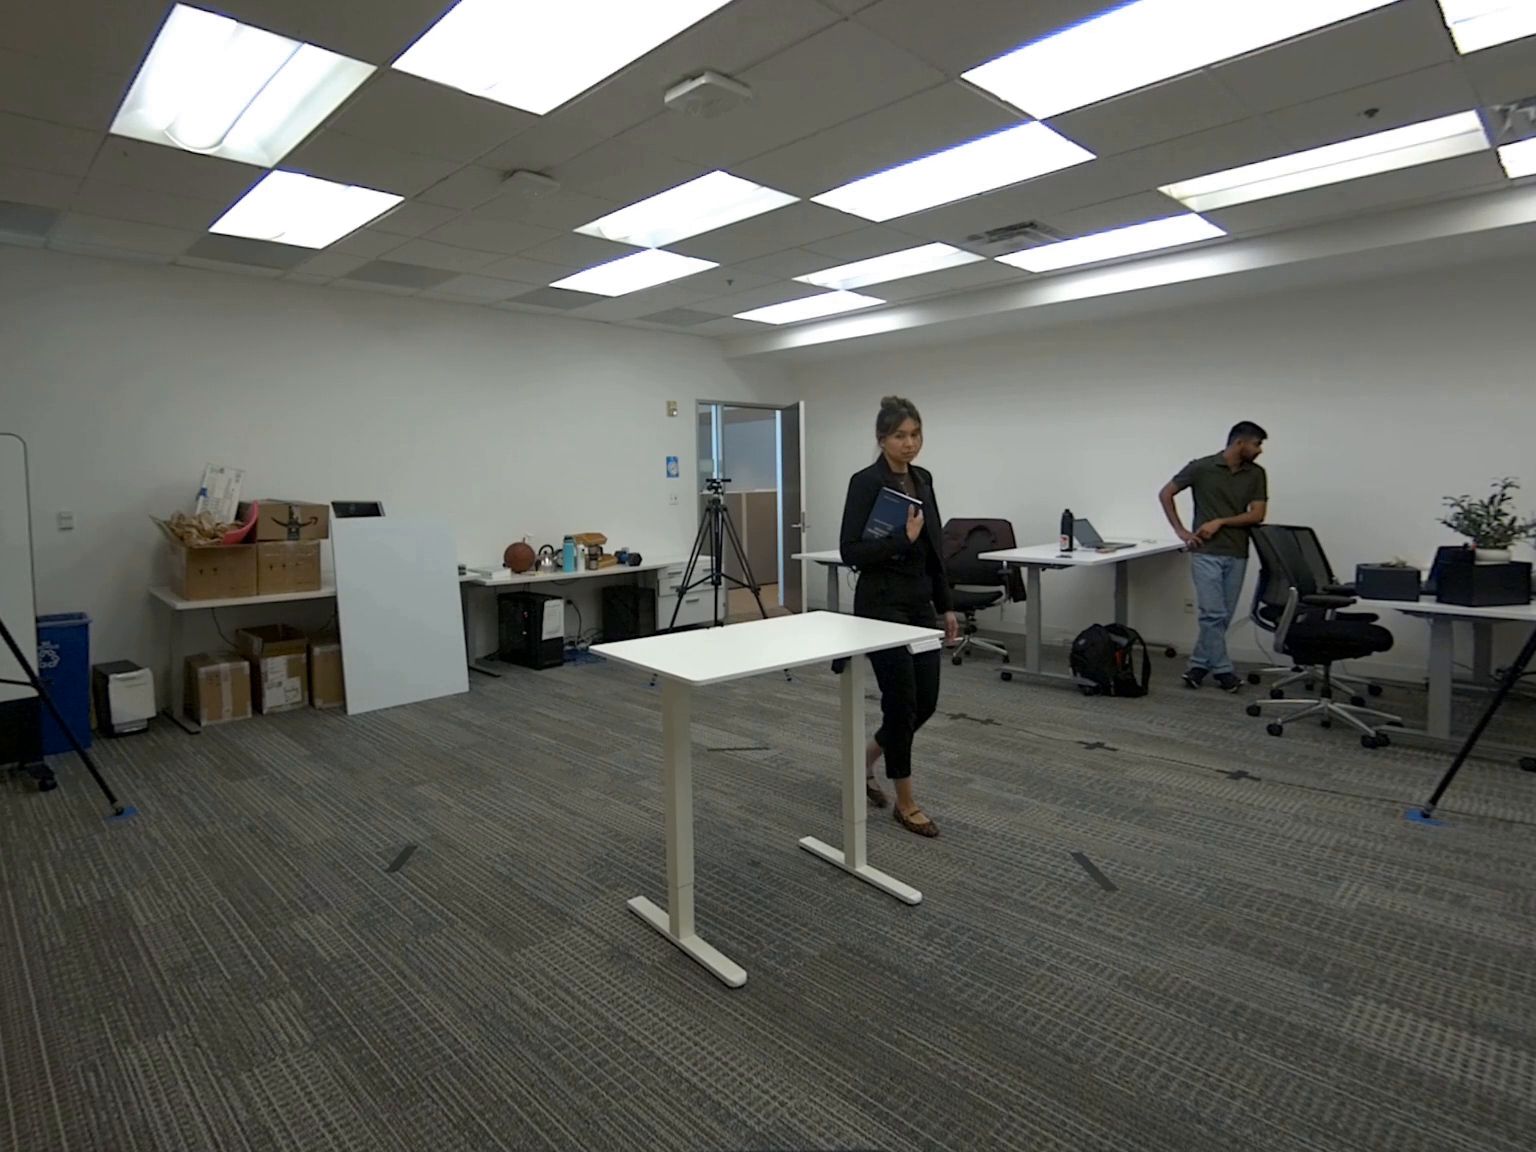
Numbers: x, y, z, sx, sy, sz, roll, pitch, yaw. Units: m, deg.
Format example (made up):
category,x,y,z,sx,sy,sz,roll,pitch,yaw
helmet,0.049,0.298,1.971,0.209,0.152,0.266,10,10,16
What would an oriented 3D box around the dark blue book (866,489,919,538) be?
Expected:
category,x,y,z,sx,sy,sz,roll,pitch,yaw
dark blue book,0.457,-0.196,3.294,0.166,0.243,0.045,24,19,14
